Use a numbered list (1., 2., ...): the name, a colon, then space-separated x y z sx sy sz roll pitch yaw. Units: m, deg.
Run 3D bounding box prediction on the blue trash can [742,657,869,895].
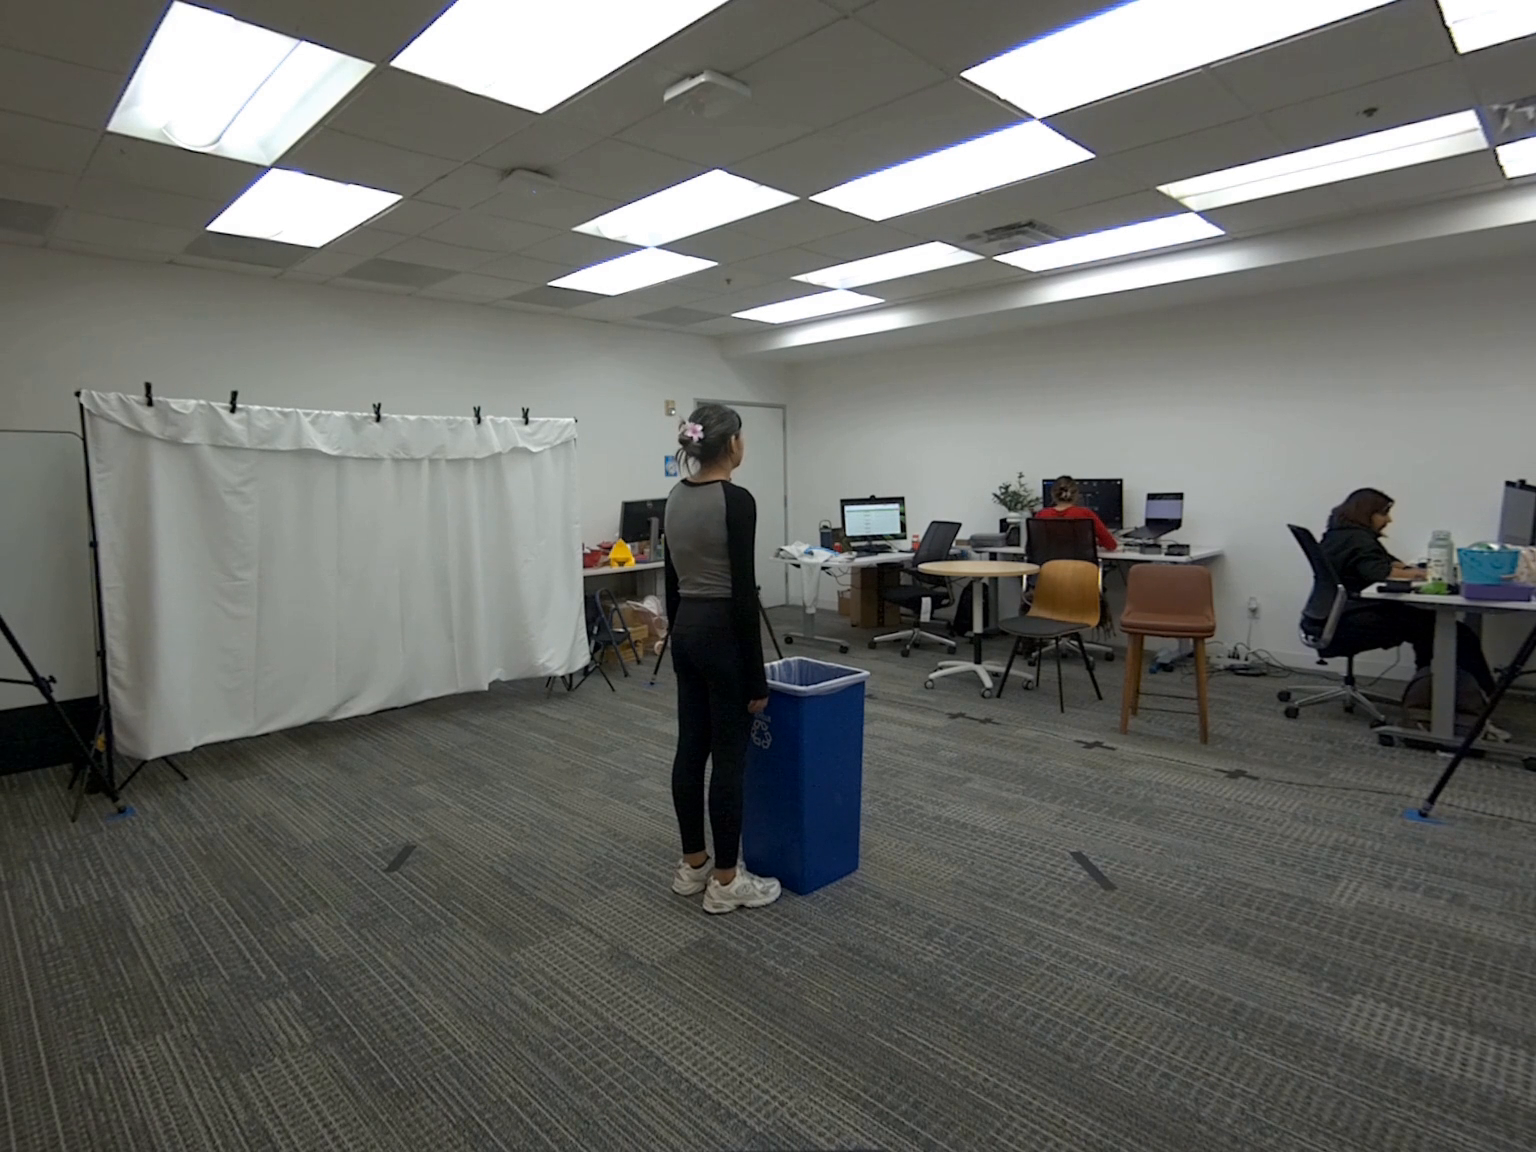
1. blue trash can: 0.123 0.690 3.033 0.368 0.711 0.385 -5 6 -43
